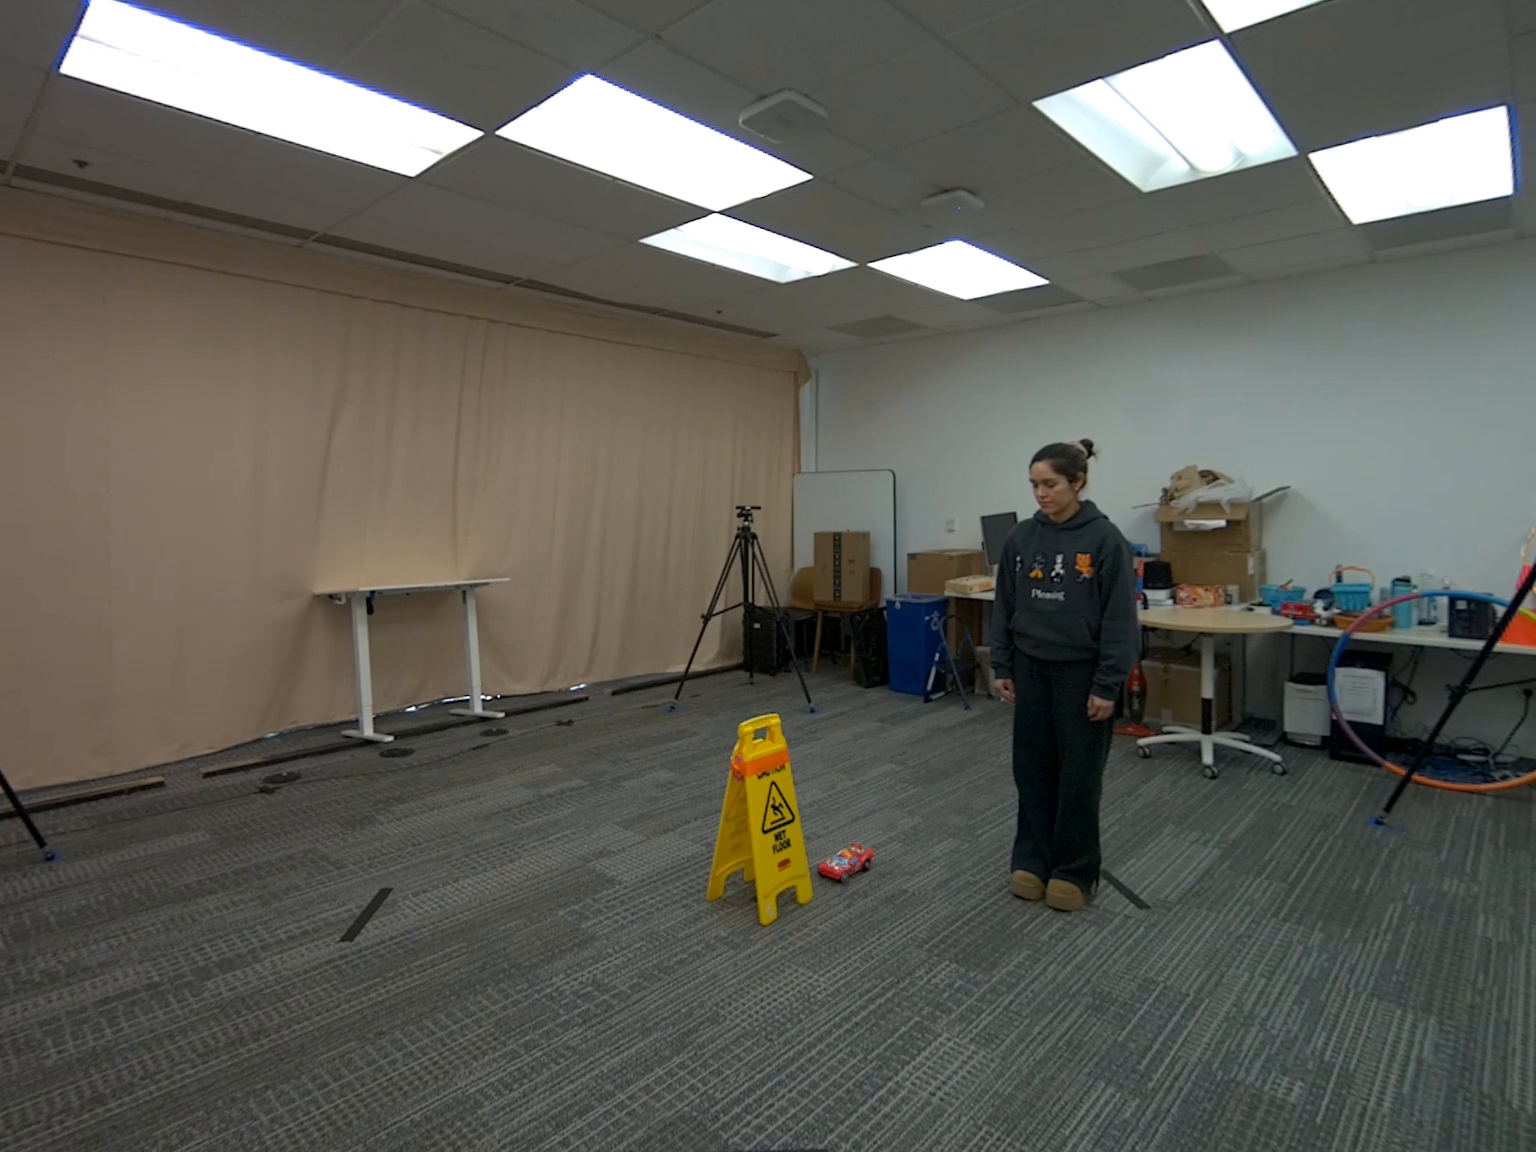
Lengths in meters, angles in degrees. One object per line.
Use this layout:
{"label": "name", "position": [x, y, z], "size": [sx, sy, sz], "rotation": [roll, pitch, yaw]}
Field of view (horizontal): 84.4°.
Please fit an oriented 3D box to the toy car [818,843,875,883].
{"label": "toy car", "position": [0.328, 1.086, 3.204], "size": [0.134, 0.082, 0.248], "rotation": [4, 17, 44]}
